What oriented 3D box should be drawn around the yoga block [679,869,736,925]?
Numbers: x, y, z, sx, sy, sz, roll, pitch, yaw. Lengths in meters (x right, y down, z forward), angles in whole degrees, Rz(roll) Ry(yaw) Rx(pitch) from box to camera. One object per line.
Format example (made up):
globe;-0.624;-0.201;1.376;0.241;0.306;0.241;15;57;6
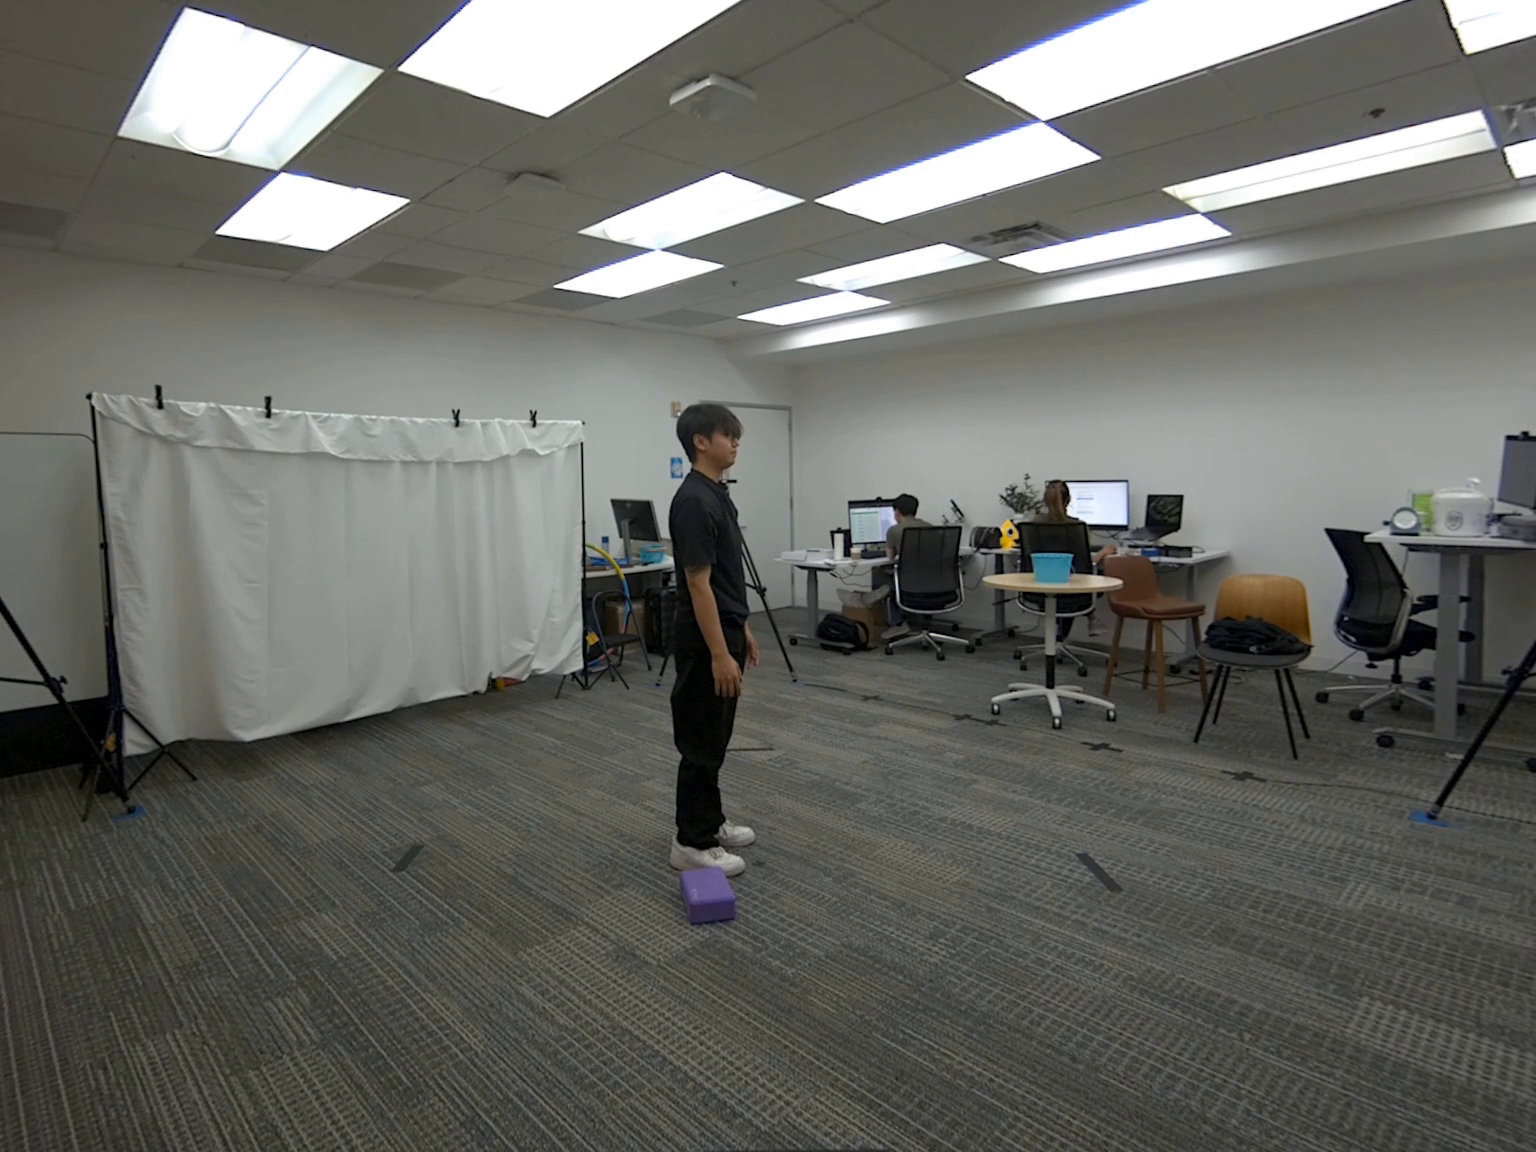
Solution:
yoga block;-0.201;1.049;2.809;0.147;0.076;0.233;-1;5;-13
